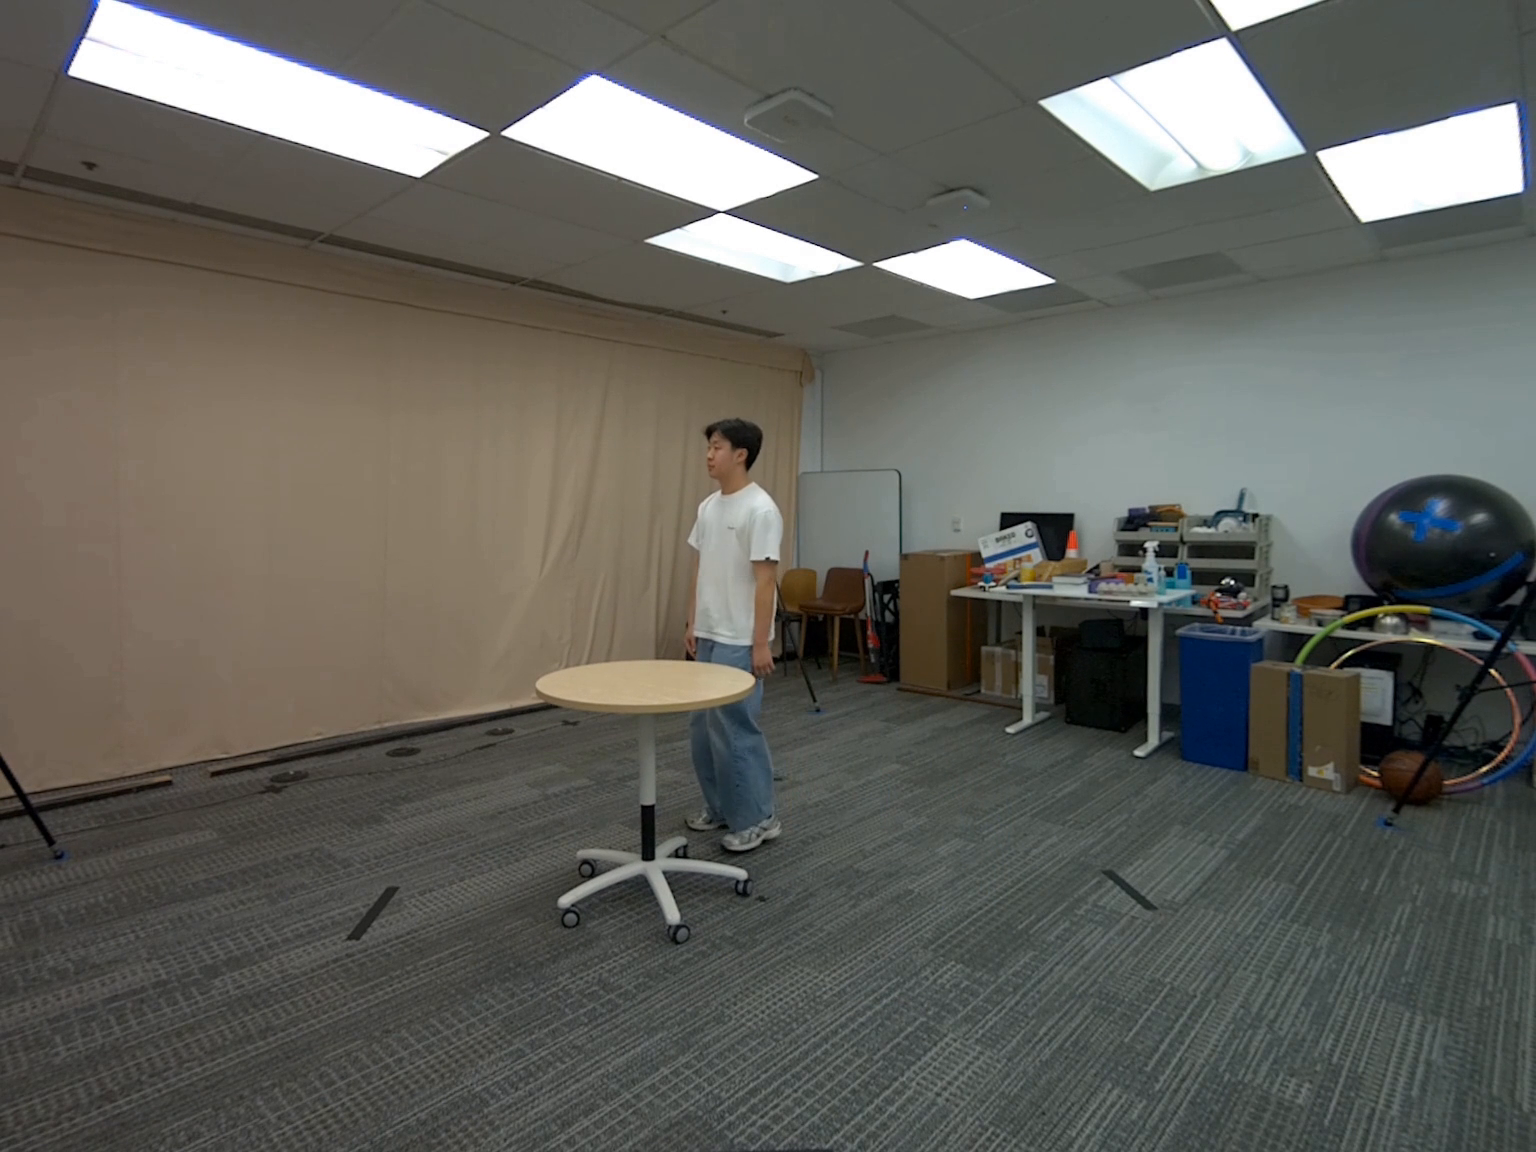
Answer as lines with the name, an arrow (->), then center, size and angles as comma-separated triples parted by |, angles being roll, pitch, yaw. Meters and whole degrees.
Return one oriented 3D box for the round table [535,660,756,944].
round table -> -0.413, 0.755, 2.976 | 0.784, 0.785, 0.788 | 0, 4, -2
